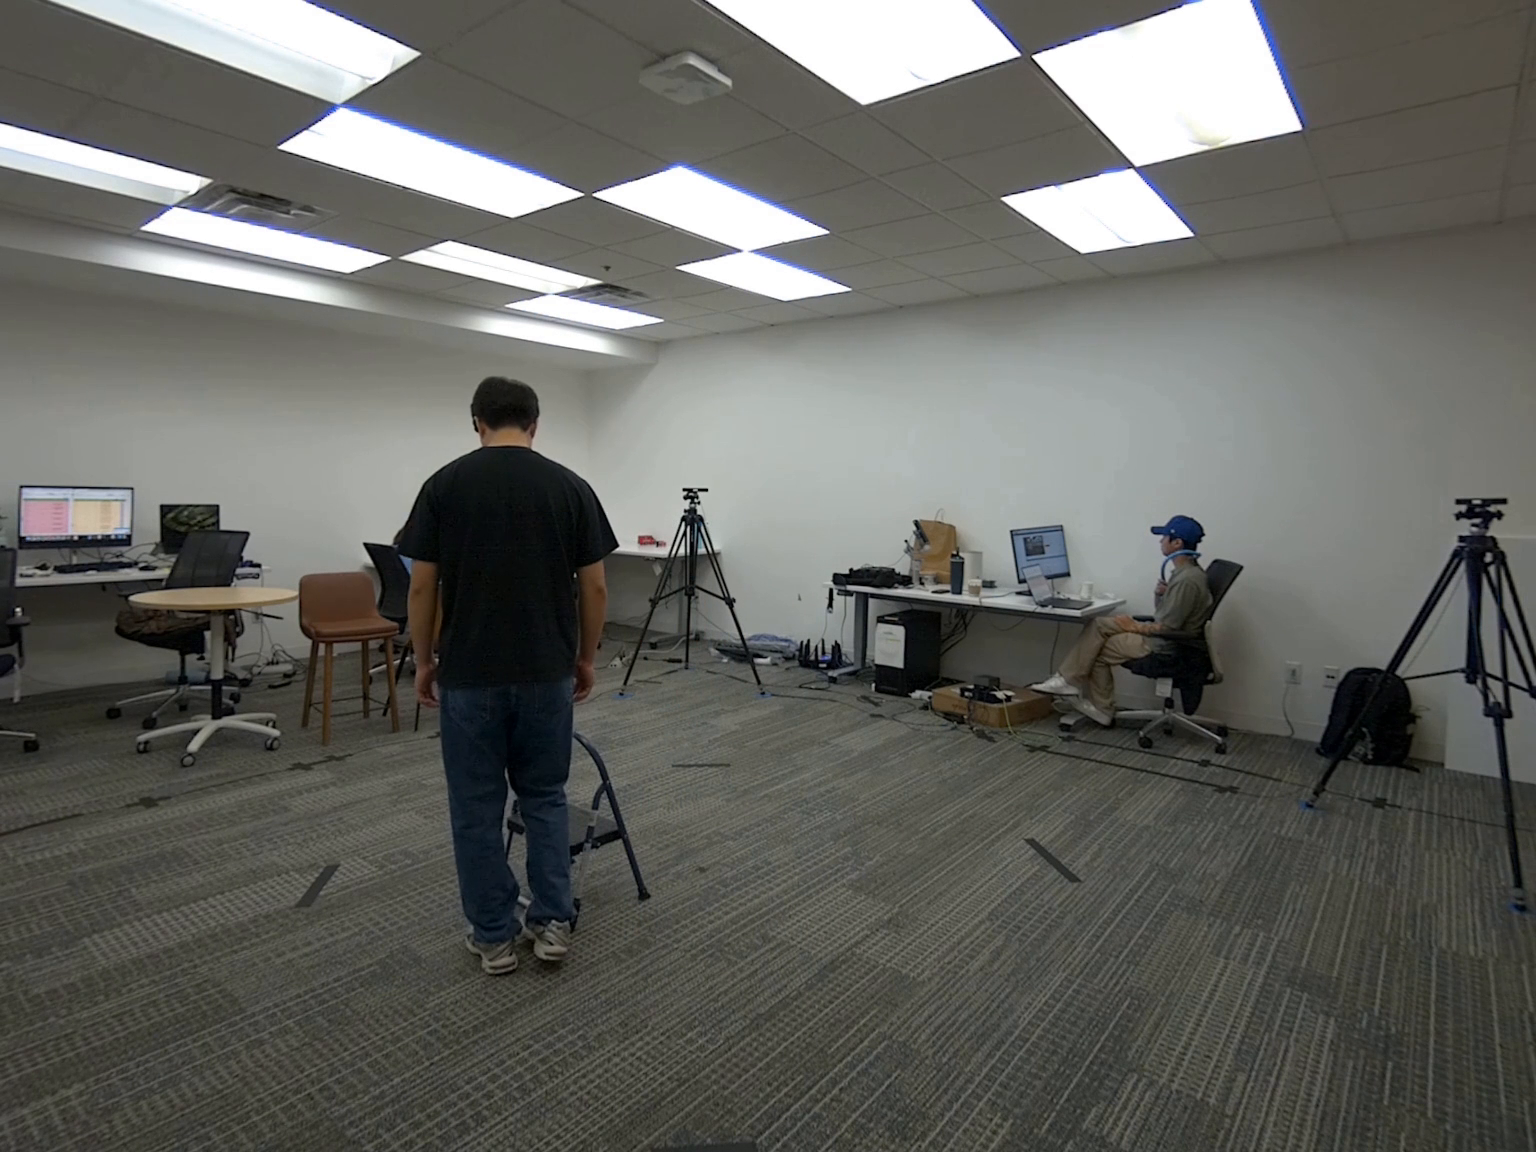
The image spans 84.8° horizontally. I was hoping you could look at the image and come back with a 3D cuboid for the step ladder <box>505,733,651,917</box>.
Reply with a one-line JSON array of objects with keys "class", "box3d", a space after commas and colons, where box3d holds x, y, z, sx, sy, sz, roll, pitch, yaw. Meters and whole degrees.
[{"class": "step ladder", "box3d": [-0.675, 0.779, 2.883, 0.445, 0.604, 0.339, 4, 4, 39]}]
